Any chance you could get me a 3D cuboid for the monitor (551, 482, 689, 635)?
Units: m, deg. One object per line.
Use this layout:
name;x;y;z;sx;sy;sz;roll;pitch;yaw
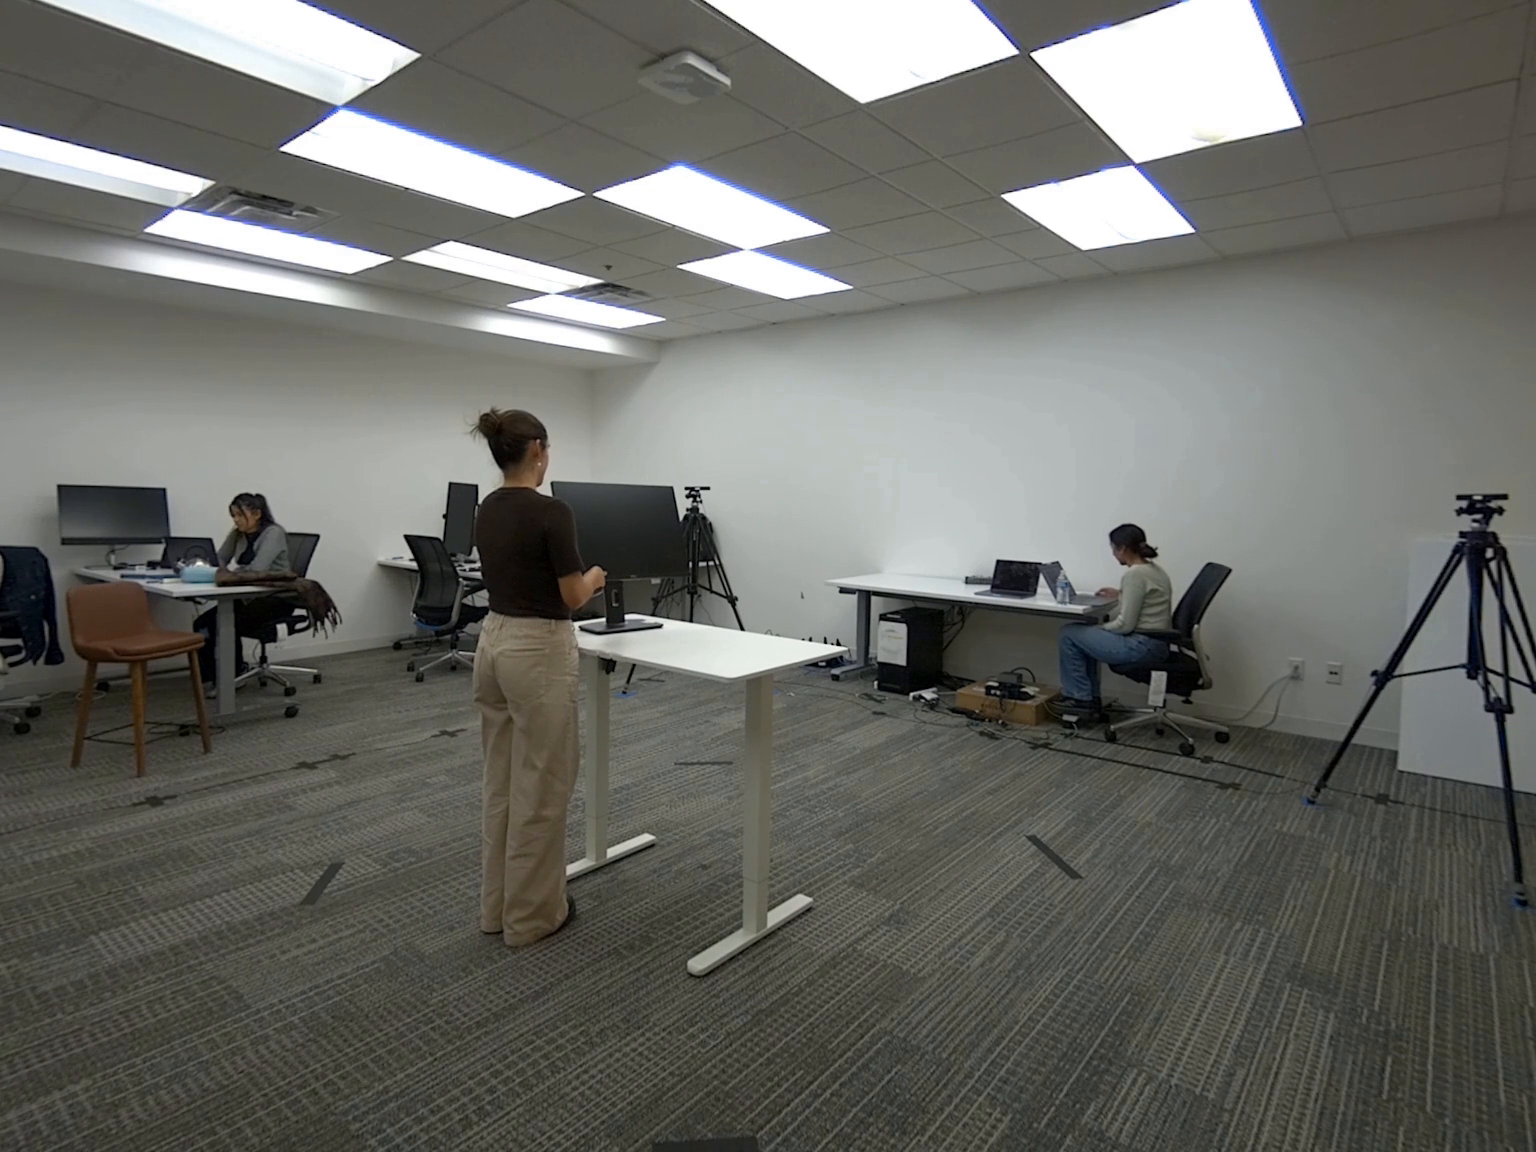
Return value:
monitor;-0.547;-0.070;3.031;0.193;0.523;0.522;-1;0;44
